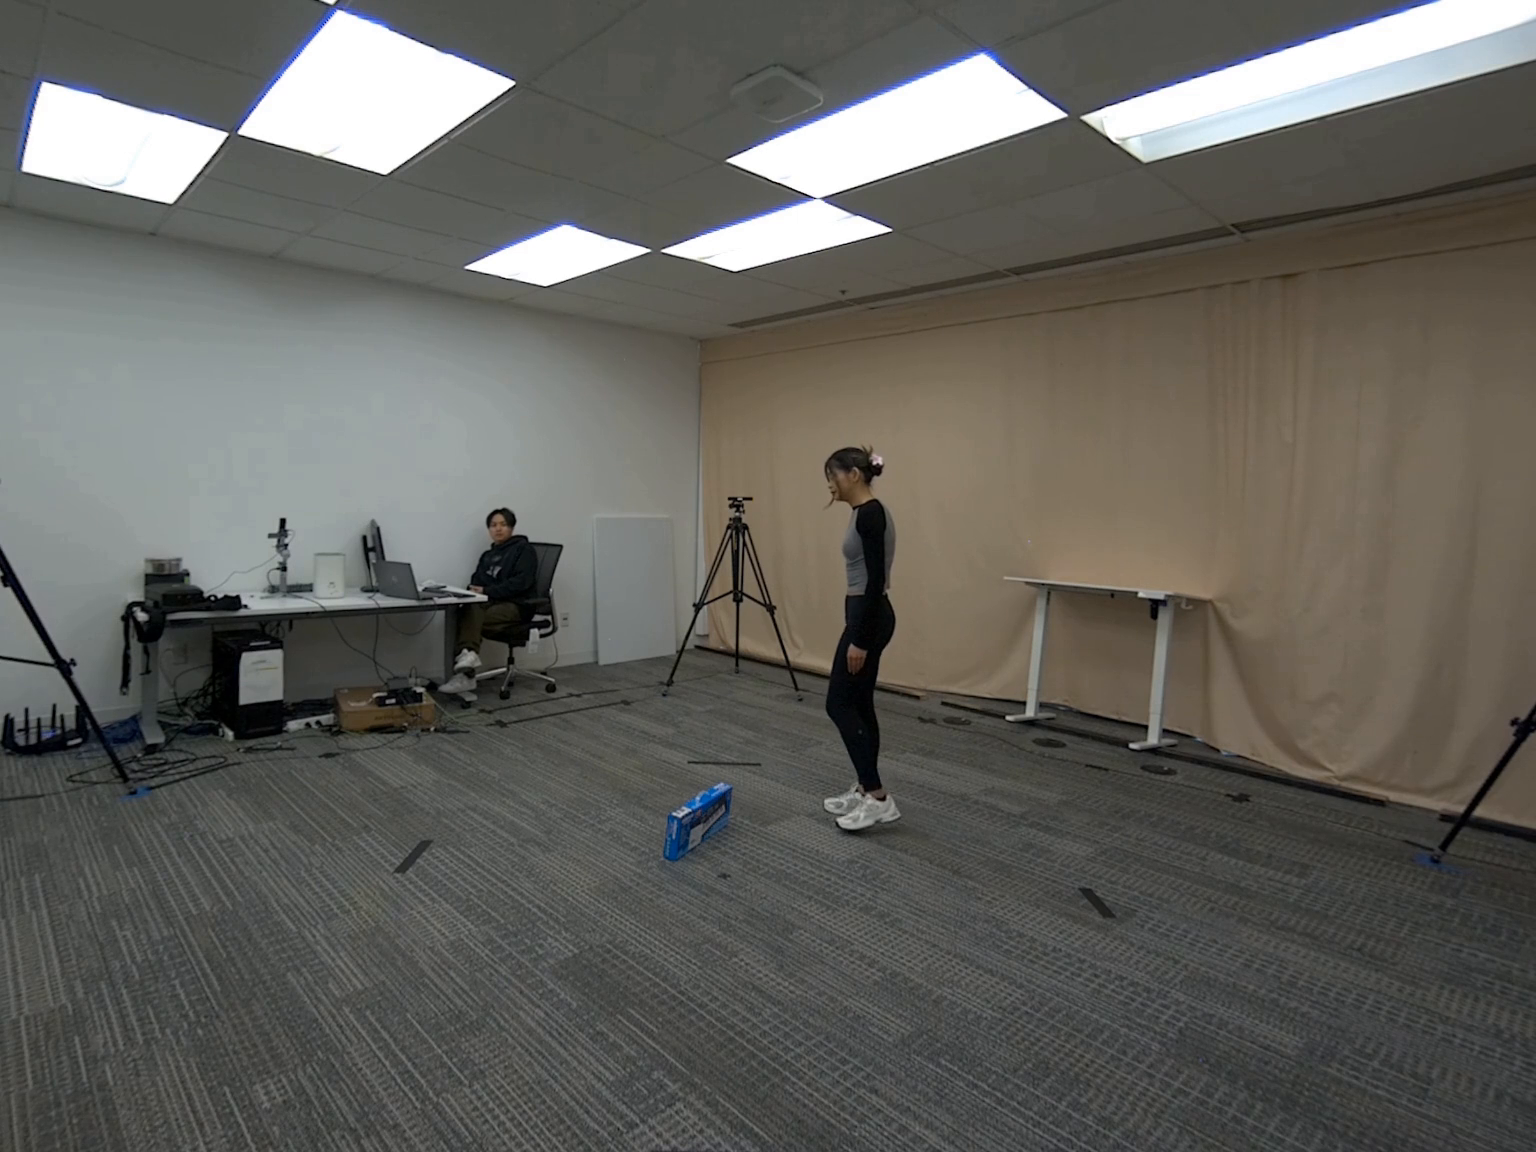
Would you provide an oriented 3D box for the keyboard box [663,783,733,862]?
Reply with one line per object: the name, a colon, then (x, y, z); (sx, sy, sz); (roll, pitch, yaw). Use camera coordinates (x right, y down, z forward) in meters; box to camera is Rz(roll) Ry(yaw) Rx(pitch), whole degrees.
keyboard box: (-0.284, 0.988, 3.412); (0.060, 0.175, 0.429); (10, 8, 24)
